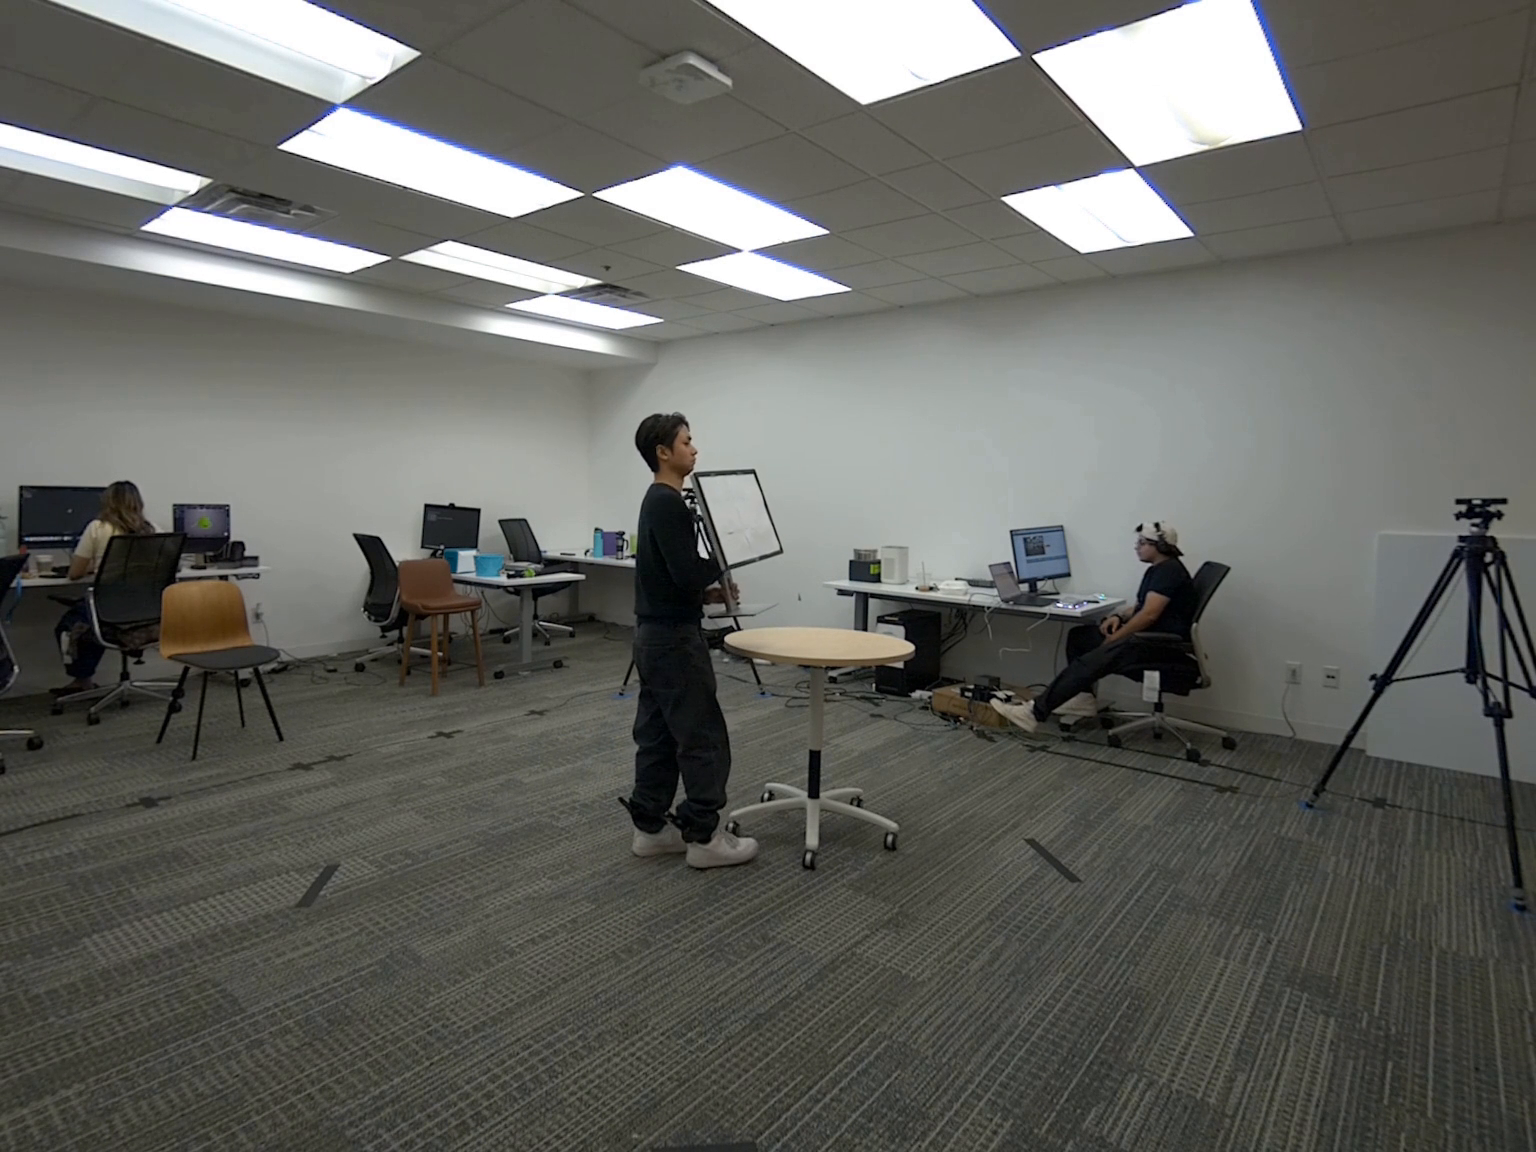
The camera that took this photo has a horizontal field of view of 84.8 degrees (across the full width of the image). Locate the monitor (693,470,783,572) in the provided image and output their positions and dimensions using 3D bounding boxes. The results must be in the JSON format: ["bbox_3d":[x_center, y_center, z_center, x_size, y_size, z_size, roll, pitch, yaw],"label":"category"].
[{"bbox_3d":[-0.129,-0.134,3.224,0.179,0.514,0.520,0,5,23],"label":"monitor"}]
